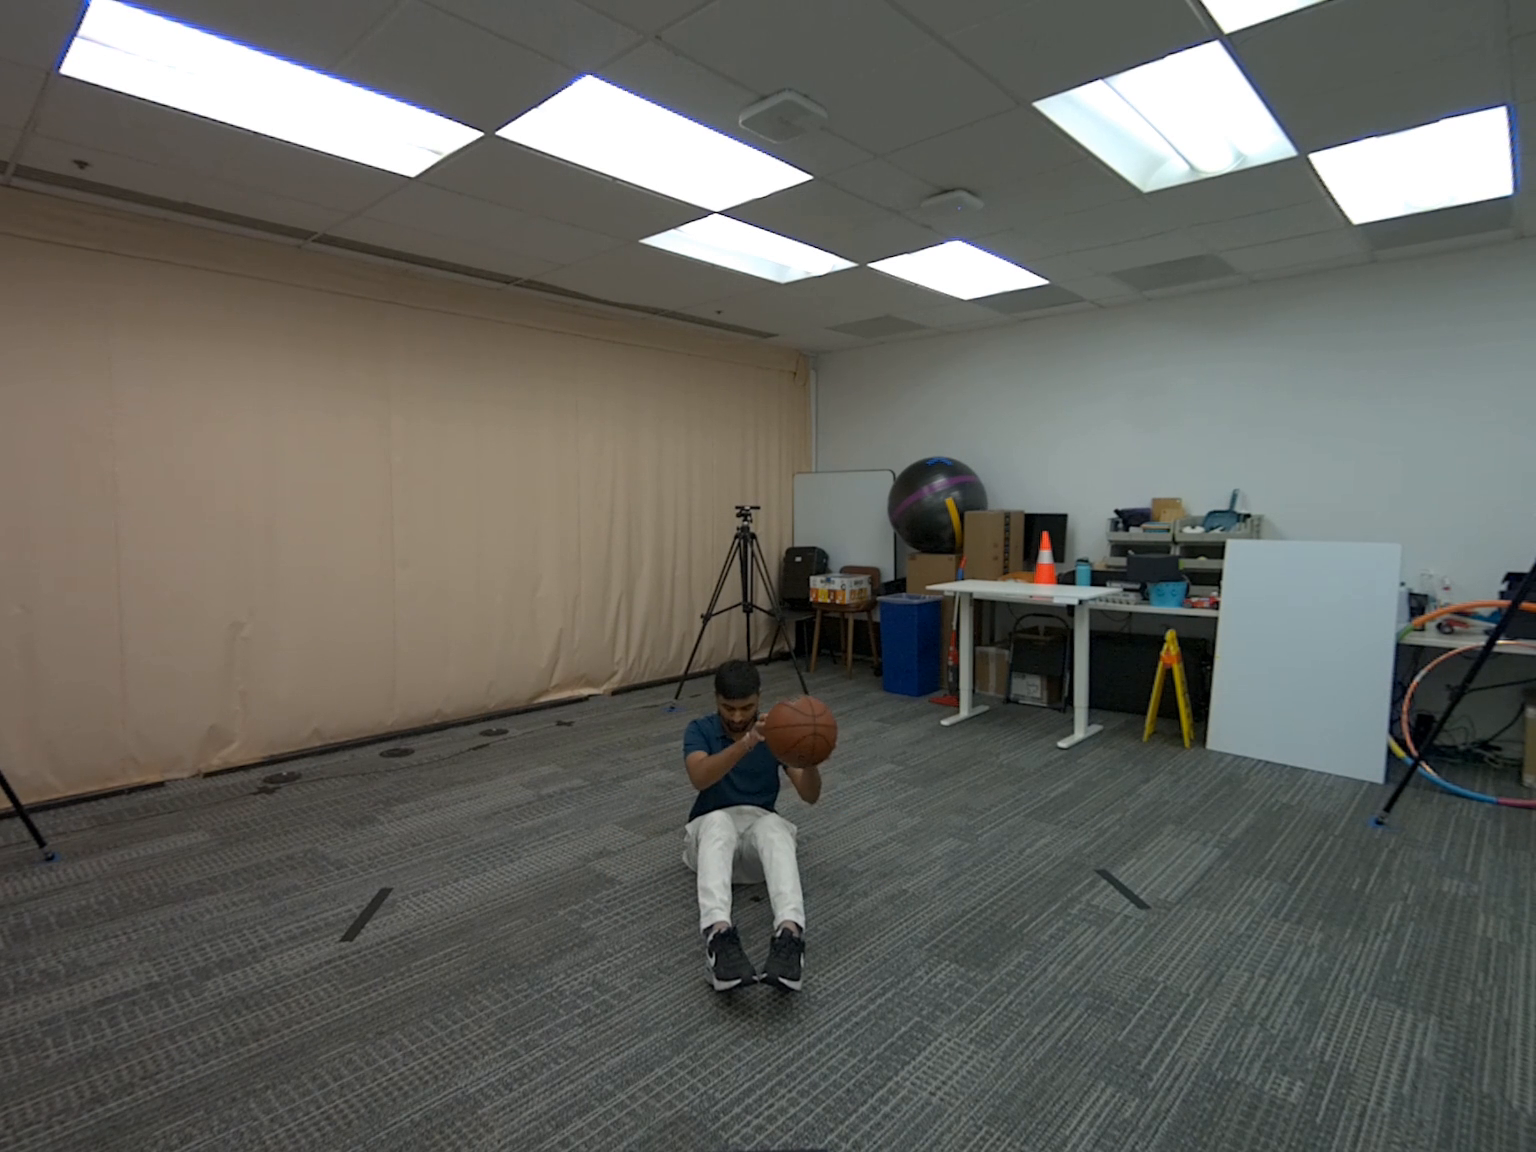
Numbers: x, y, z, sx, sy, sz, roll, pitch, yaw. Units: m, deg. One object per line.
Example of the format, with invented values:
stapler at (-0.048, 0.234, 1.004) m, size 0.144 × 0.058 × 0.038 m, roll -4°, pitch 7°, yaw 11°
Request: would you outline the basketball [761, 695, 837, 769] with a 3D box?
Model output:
basketball at (0.107, 0.536, 2.773) m, size 0.236 × 0.235 × 0.237 m, roll 0°, pitch 4°, yaw -2°
